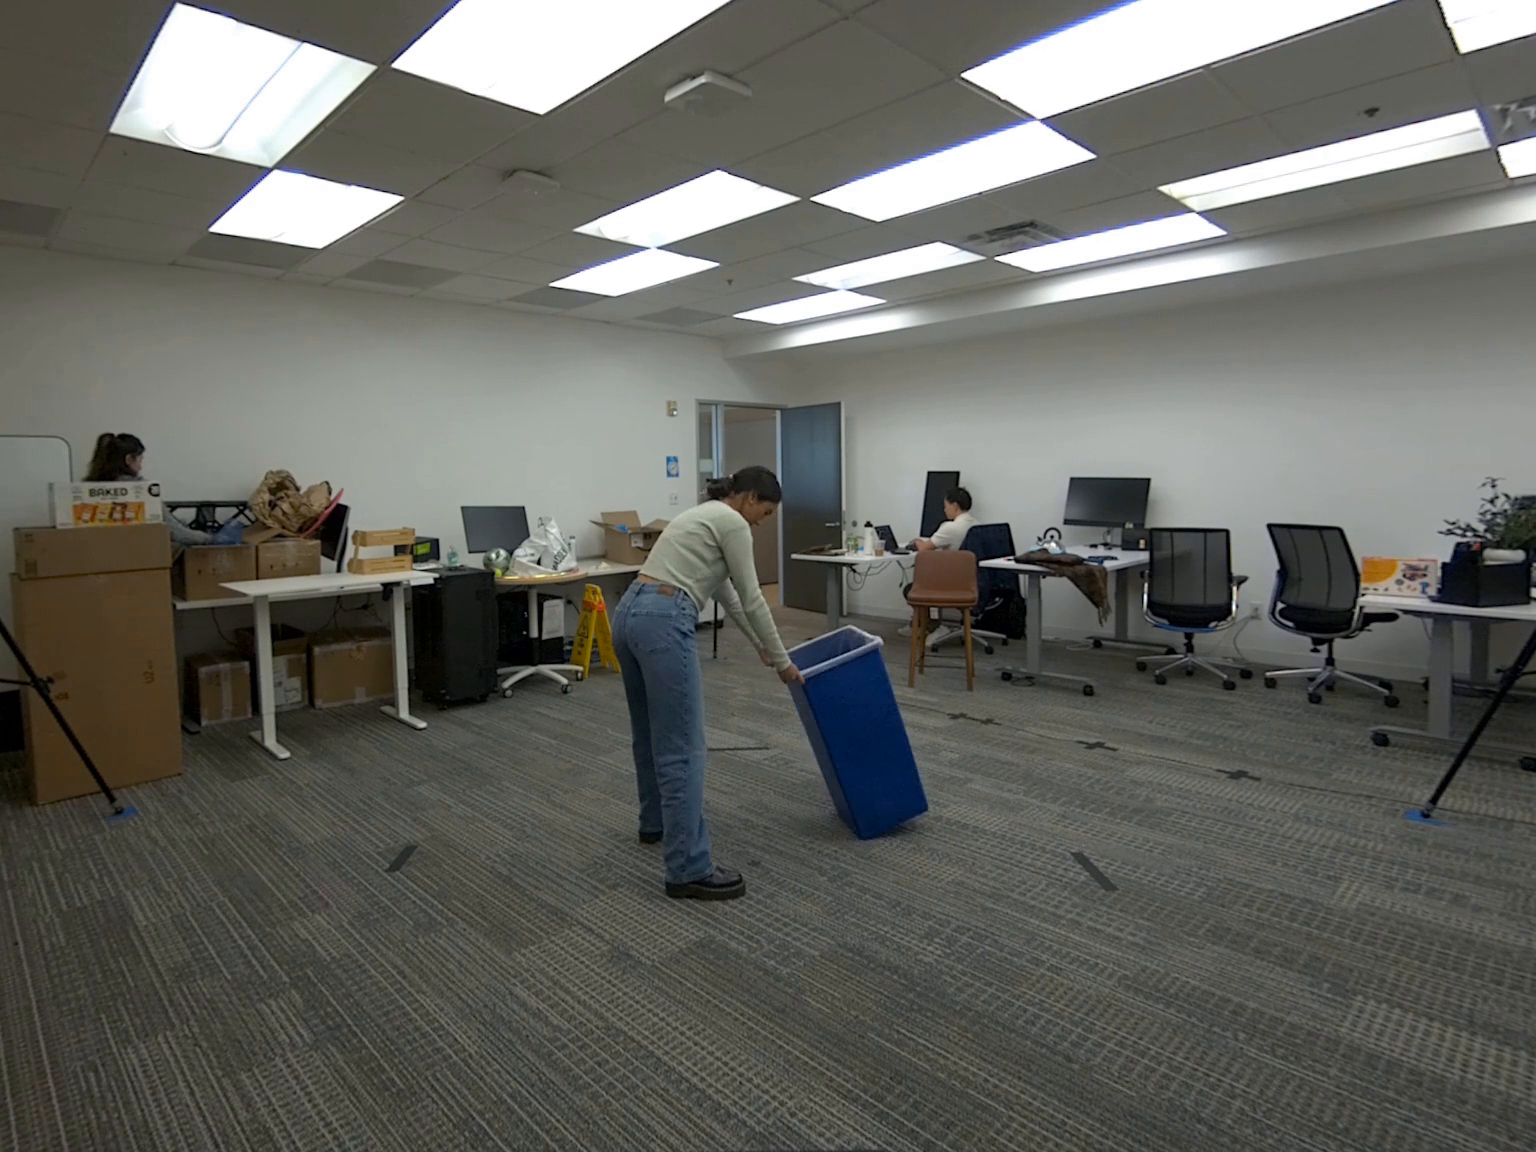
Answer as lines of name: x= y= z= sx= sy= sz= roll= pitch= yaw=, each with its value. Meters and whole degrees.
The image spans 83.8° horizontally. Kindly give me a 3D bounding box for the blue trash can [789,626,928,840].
blue trash can: x=0.327 y=0.621 z=3.402 sx=0.371 sy=0.708 sz=0.384 roll=-20 pitch=7 yaw=-12
